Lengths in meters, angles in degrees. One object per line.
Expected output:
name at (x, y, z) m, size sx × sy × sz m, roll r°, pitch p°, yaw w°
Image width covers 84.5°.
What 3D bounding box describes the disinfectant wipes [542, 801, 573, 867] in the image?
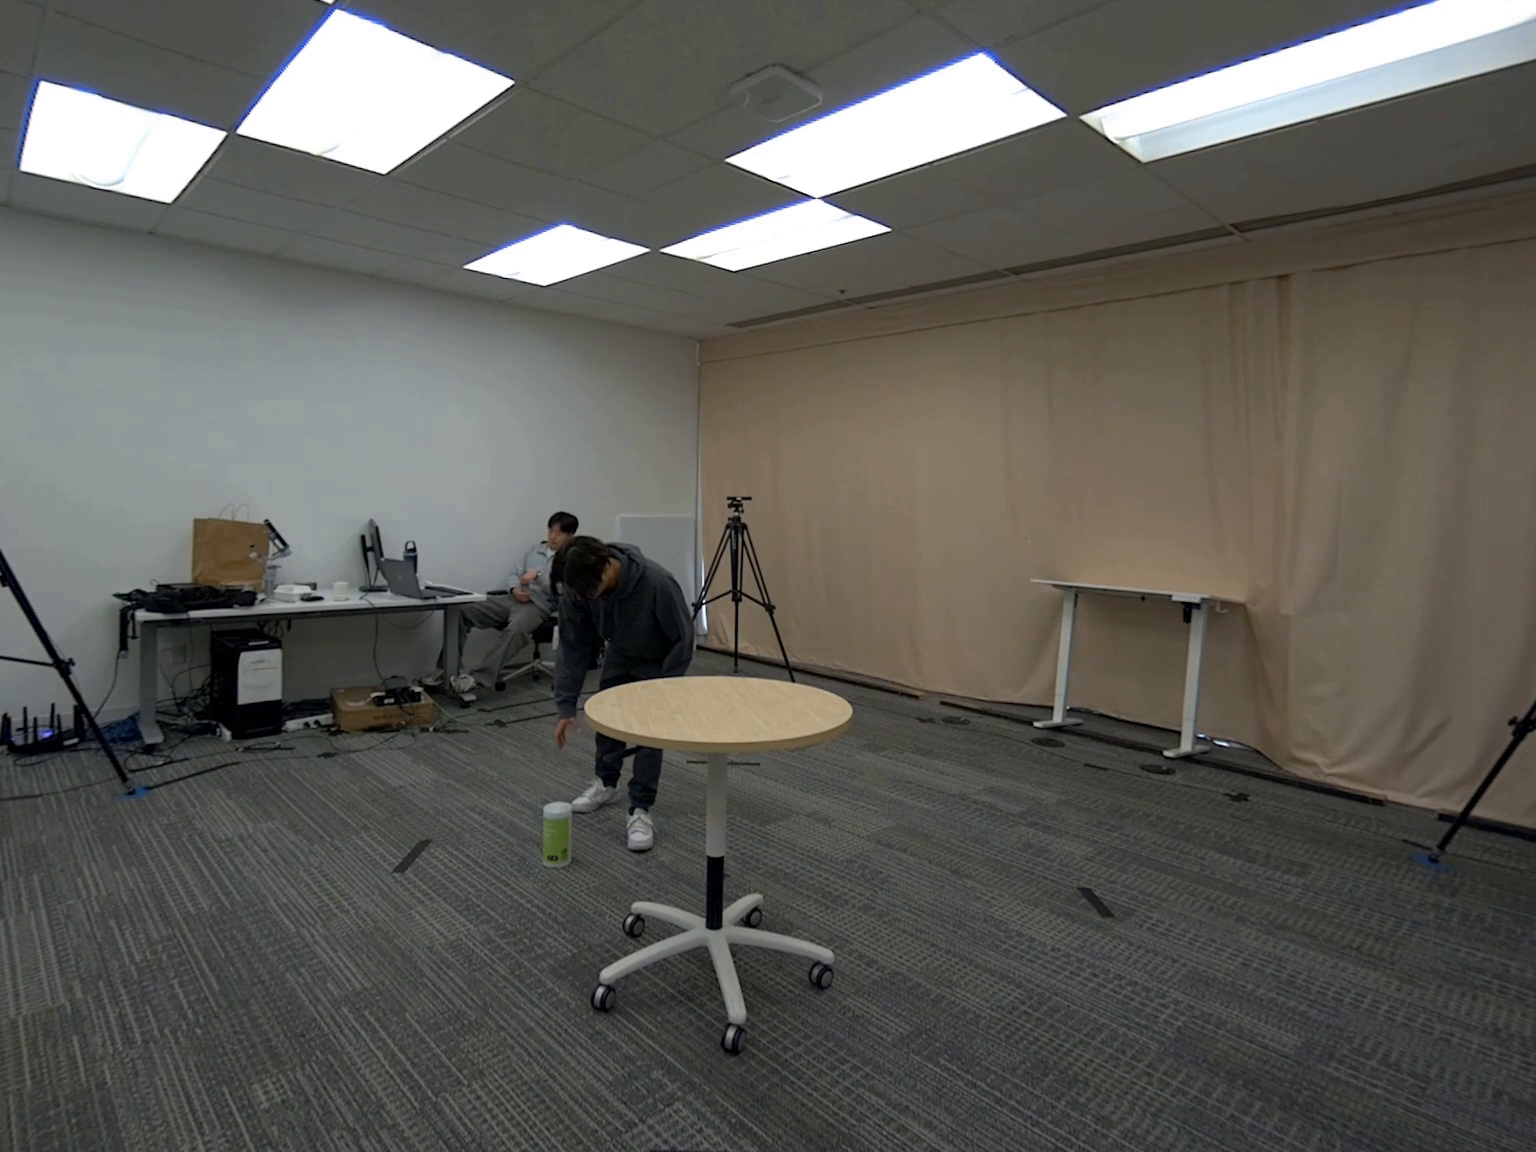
disinfectant wipes at (-0.809, 0.978, 3.178) m, size 0.118 × 0.217 × 0.118 m, roll -1°, pitch 4°, yaw -1°
